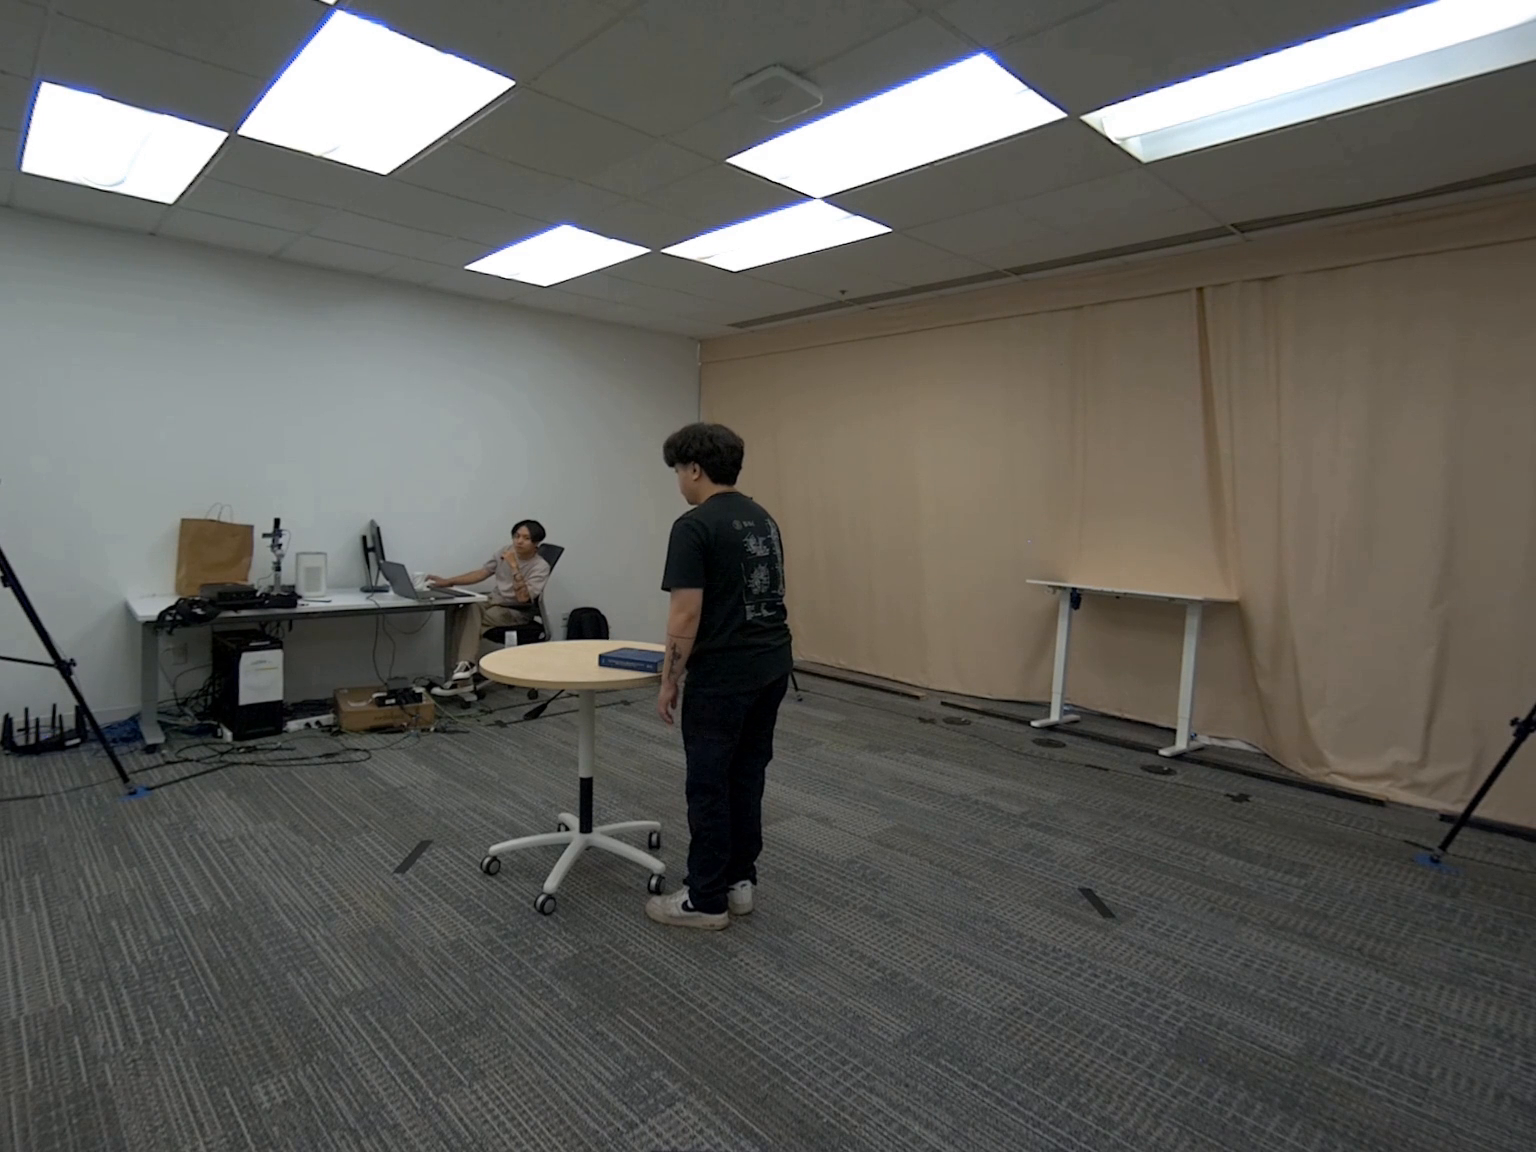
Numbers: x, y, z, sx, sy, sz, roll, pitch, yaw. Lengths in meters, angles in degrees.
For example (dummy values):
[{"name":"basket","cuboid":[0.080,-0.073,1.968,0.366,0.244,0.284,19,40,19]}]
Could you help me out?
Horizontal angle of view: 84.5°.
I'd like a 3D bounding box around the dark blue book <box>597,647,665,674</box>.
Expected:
[{"name":"dark blue book","cuboid":[-0.462,0.298,2.983,0.250,0.045,0.161,4,5,25]}]
